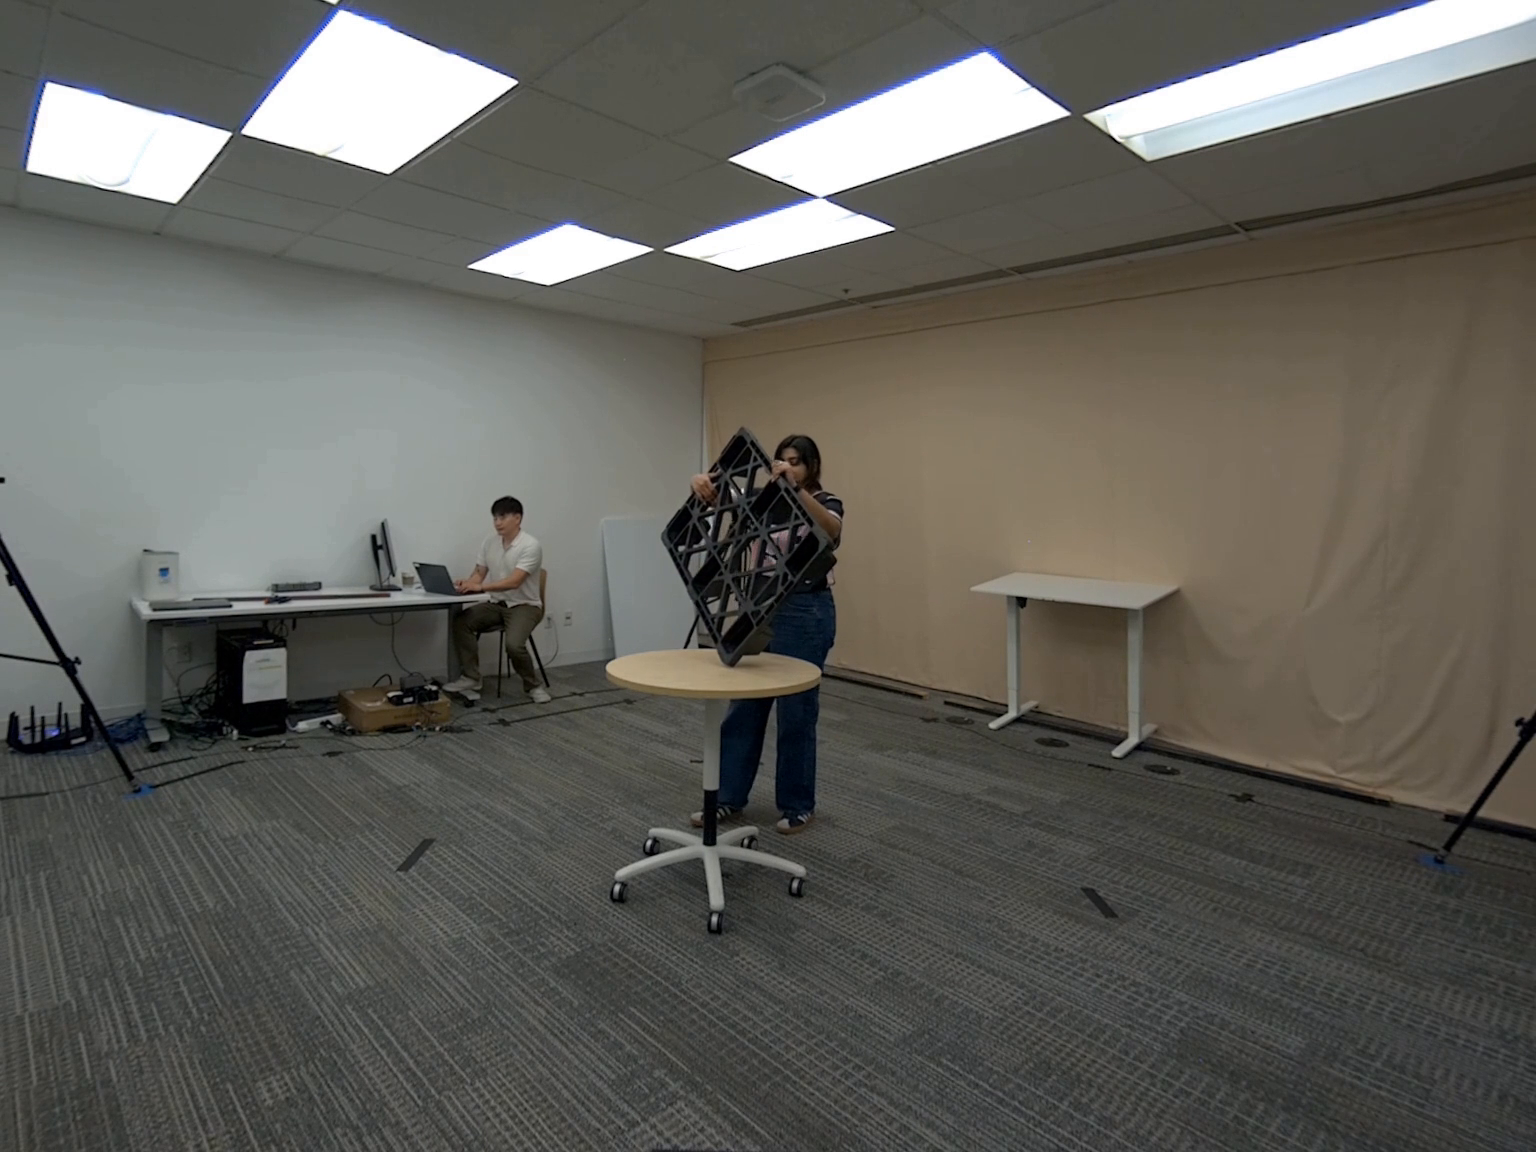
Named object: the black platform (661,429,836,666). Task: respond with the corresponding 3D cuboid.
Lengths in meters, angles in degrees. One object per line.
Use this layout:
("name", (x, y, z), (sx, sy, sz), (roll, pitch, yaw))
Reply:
("black platform", (-0.088, -0.132, 3.230), (0.139, 0.604, 0.831), (23, 25, -39))
